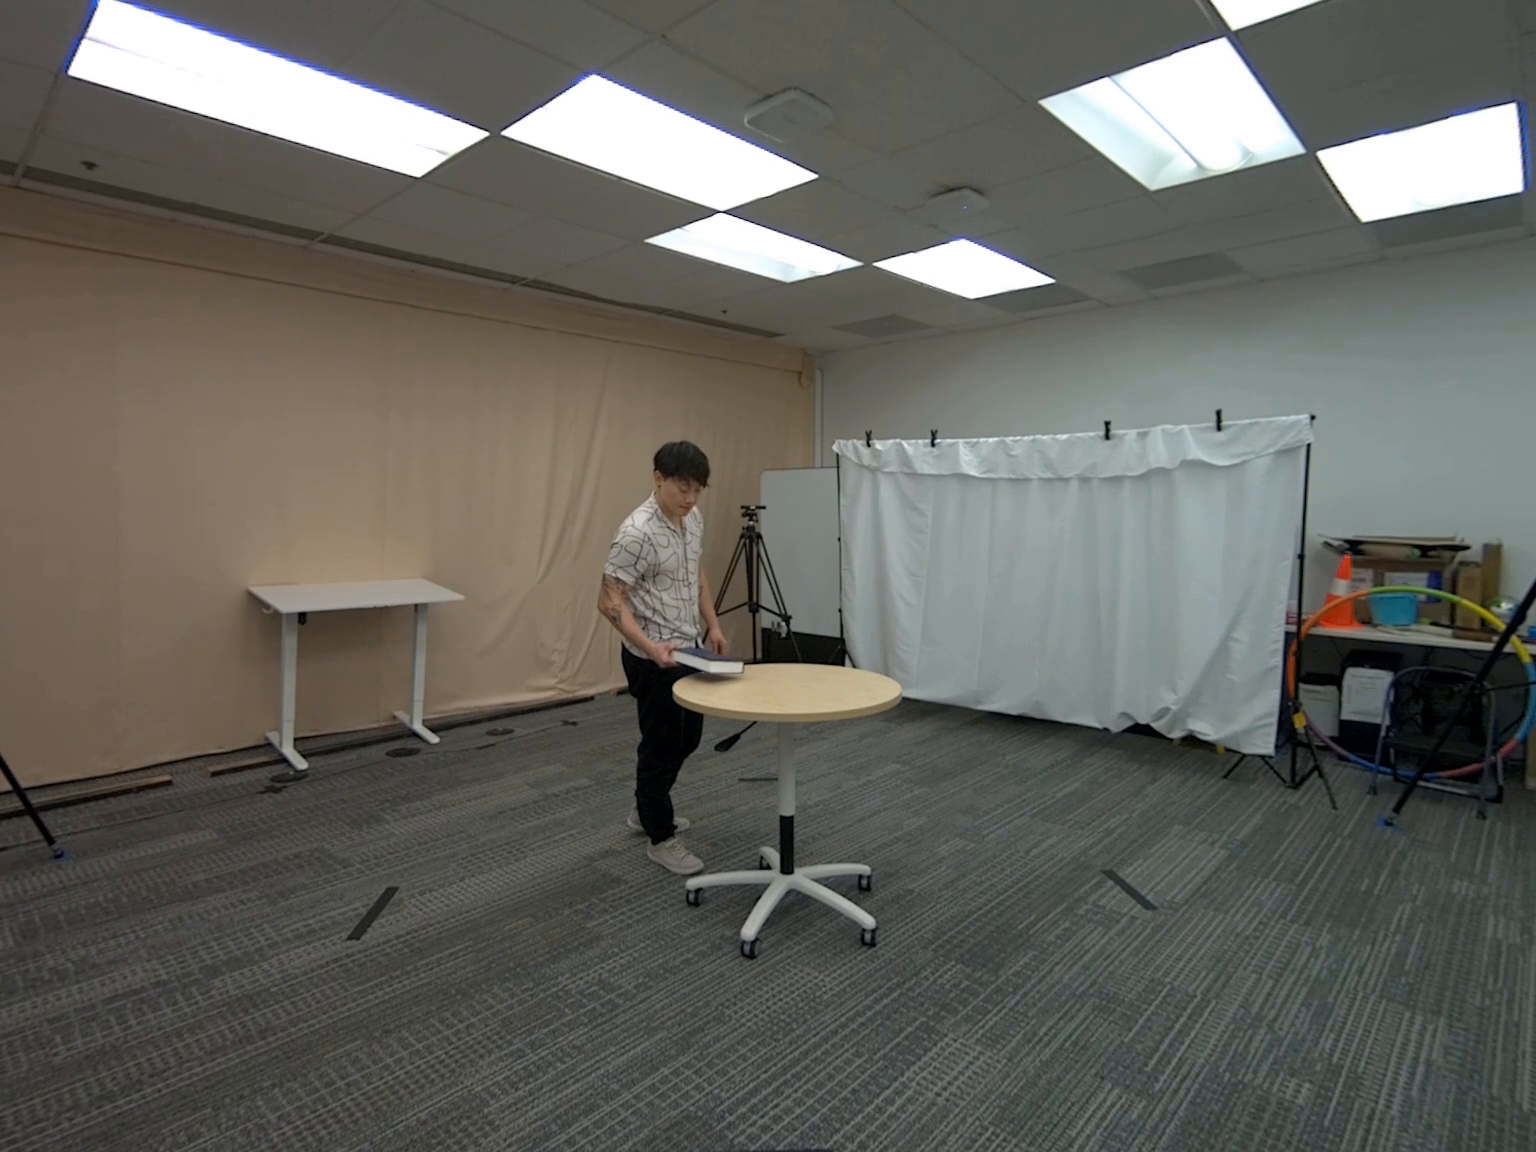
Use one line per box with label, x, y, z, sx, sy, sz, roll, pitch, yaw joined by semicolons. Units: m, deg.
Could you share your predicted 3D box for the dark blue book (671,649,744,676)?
dark blue book;-0.208;0.301;2.981;0.158;0.045;0.253;7;1;-44
